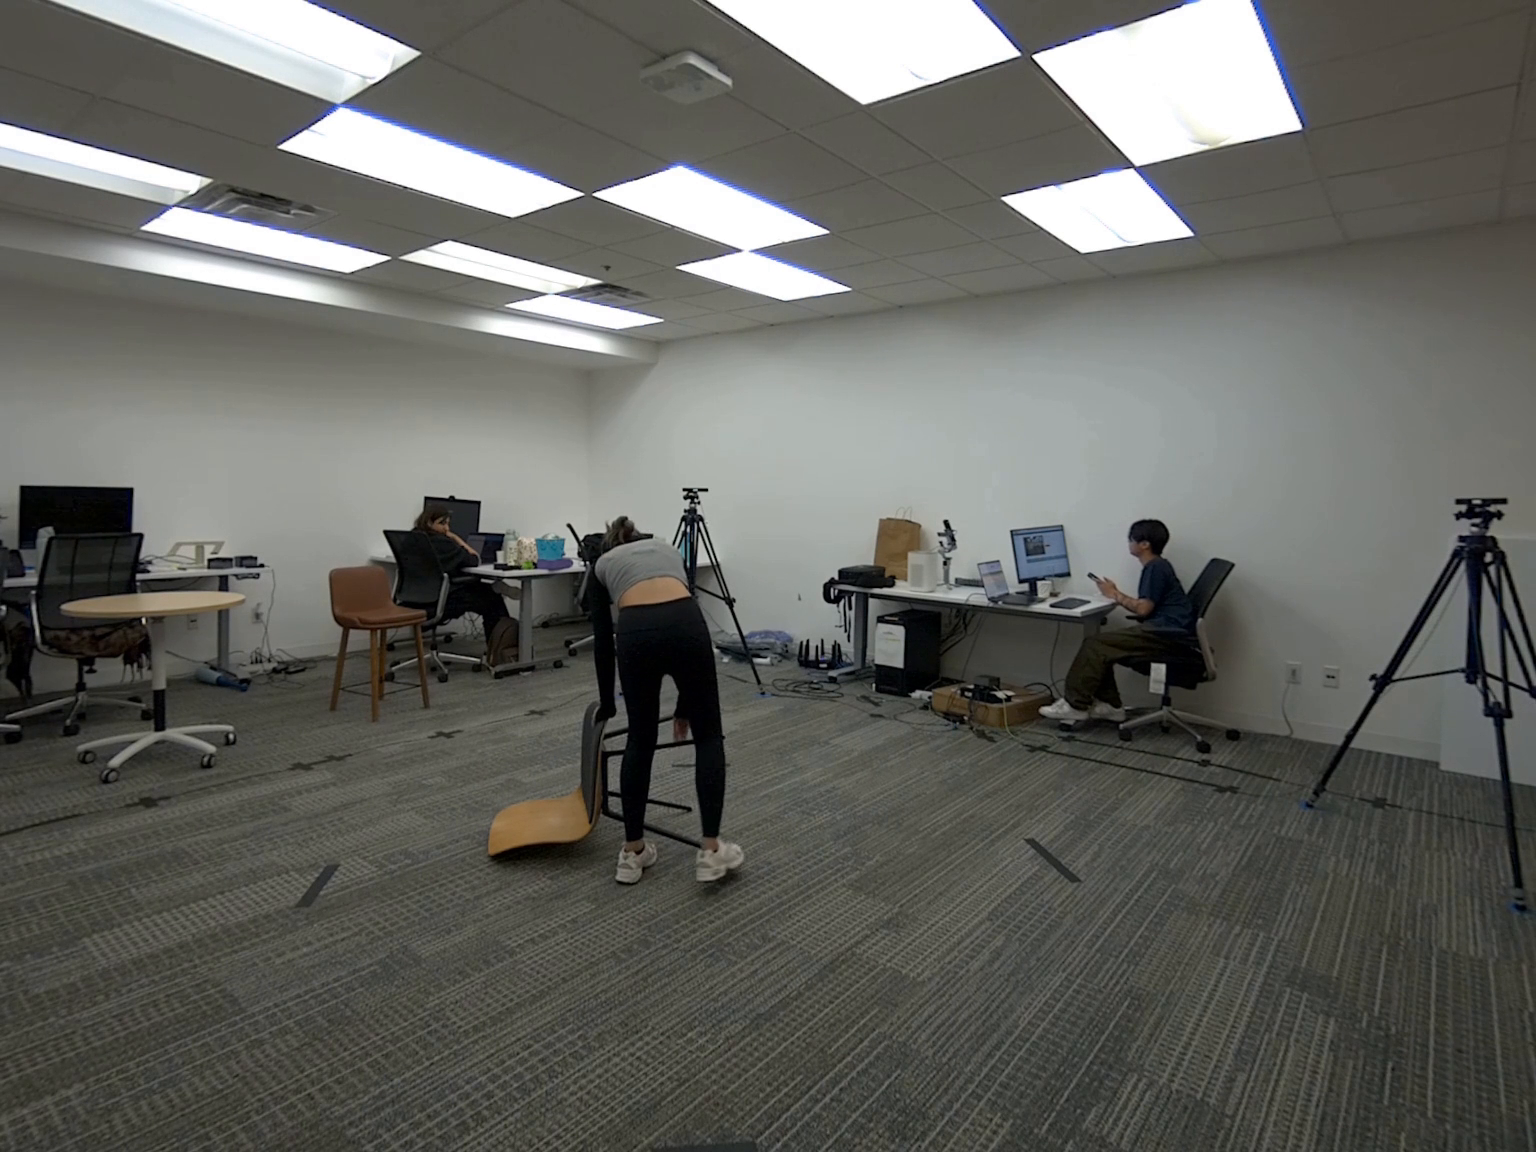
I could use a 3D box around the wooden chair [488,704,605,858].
[{"bbox_3d":[-0.667,0.777,3.360,0.865,0.521,0.487,-1,4,-14],"label":"wooden chair"}]
